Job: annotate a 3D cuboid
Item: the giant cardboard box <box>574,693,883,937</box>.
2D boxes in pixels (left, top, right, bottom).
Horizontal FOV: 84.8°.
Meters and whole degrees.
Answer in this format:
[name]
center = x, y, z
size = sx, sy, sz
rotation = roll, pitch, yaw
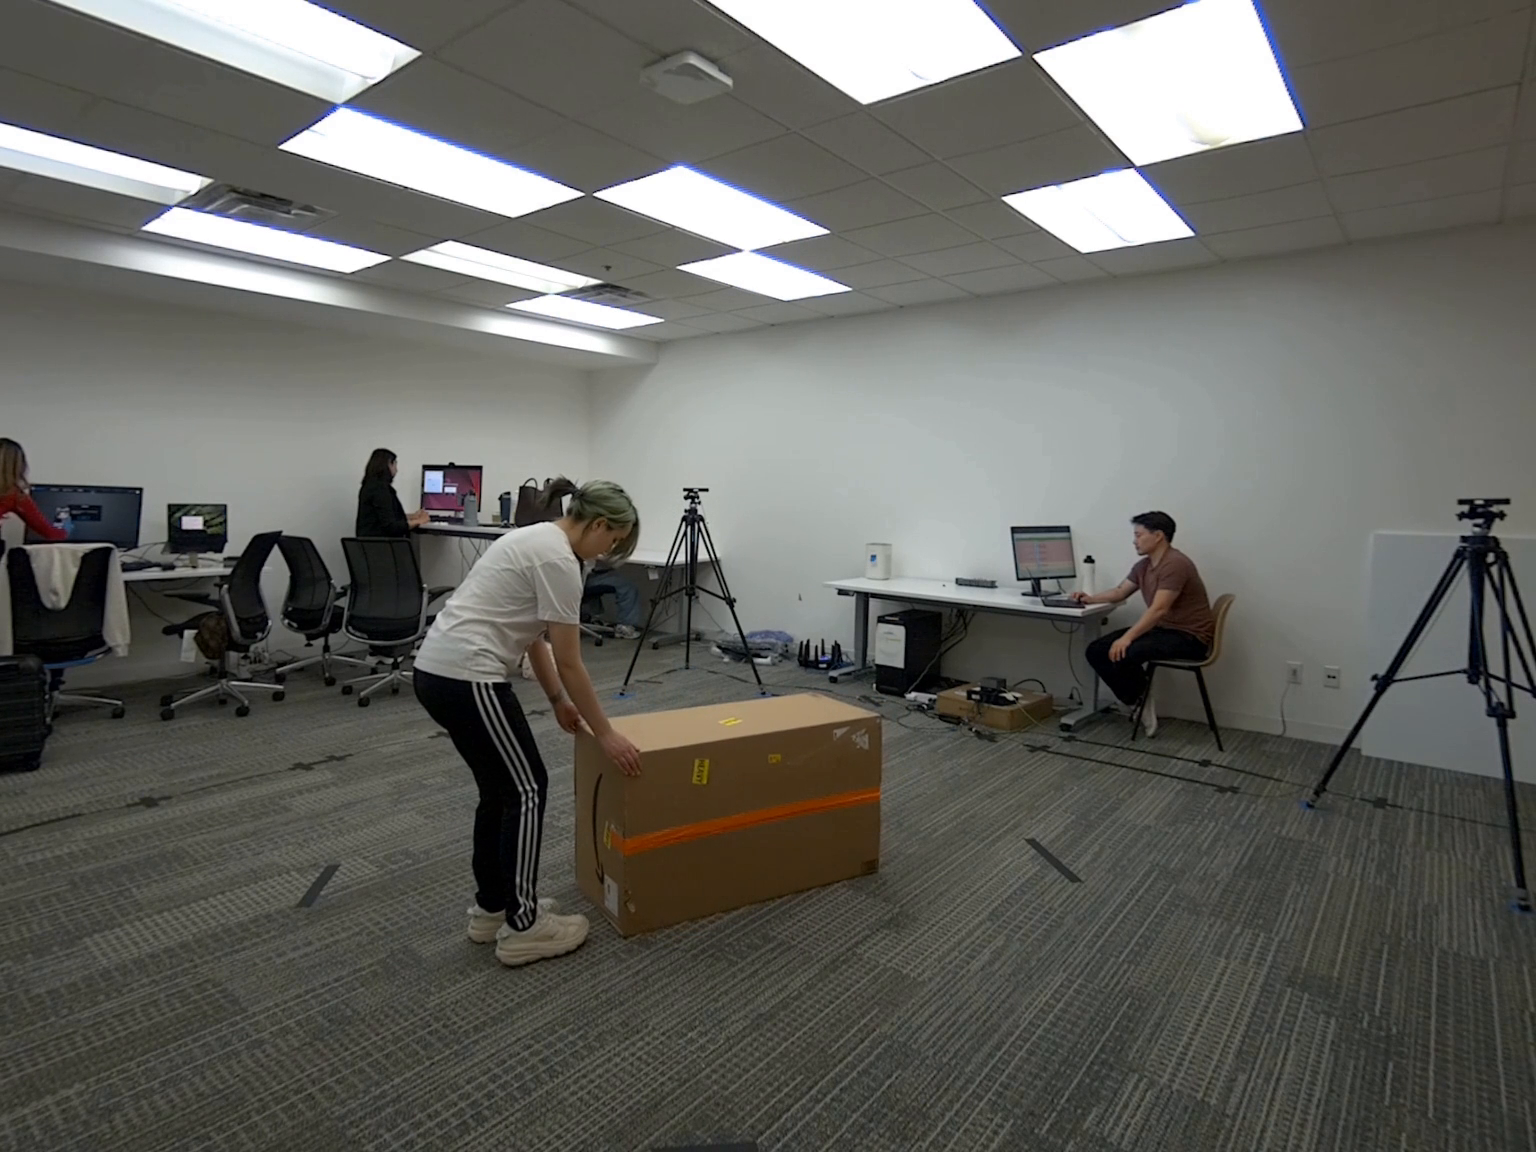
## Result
[giant cardboard box]
center = -0.137, 0.790, 3.034
size = 0.999, 0.582, 0.461
rotation = -2, 6, -31
